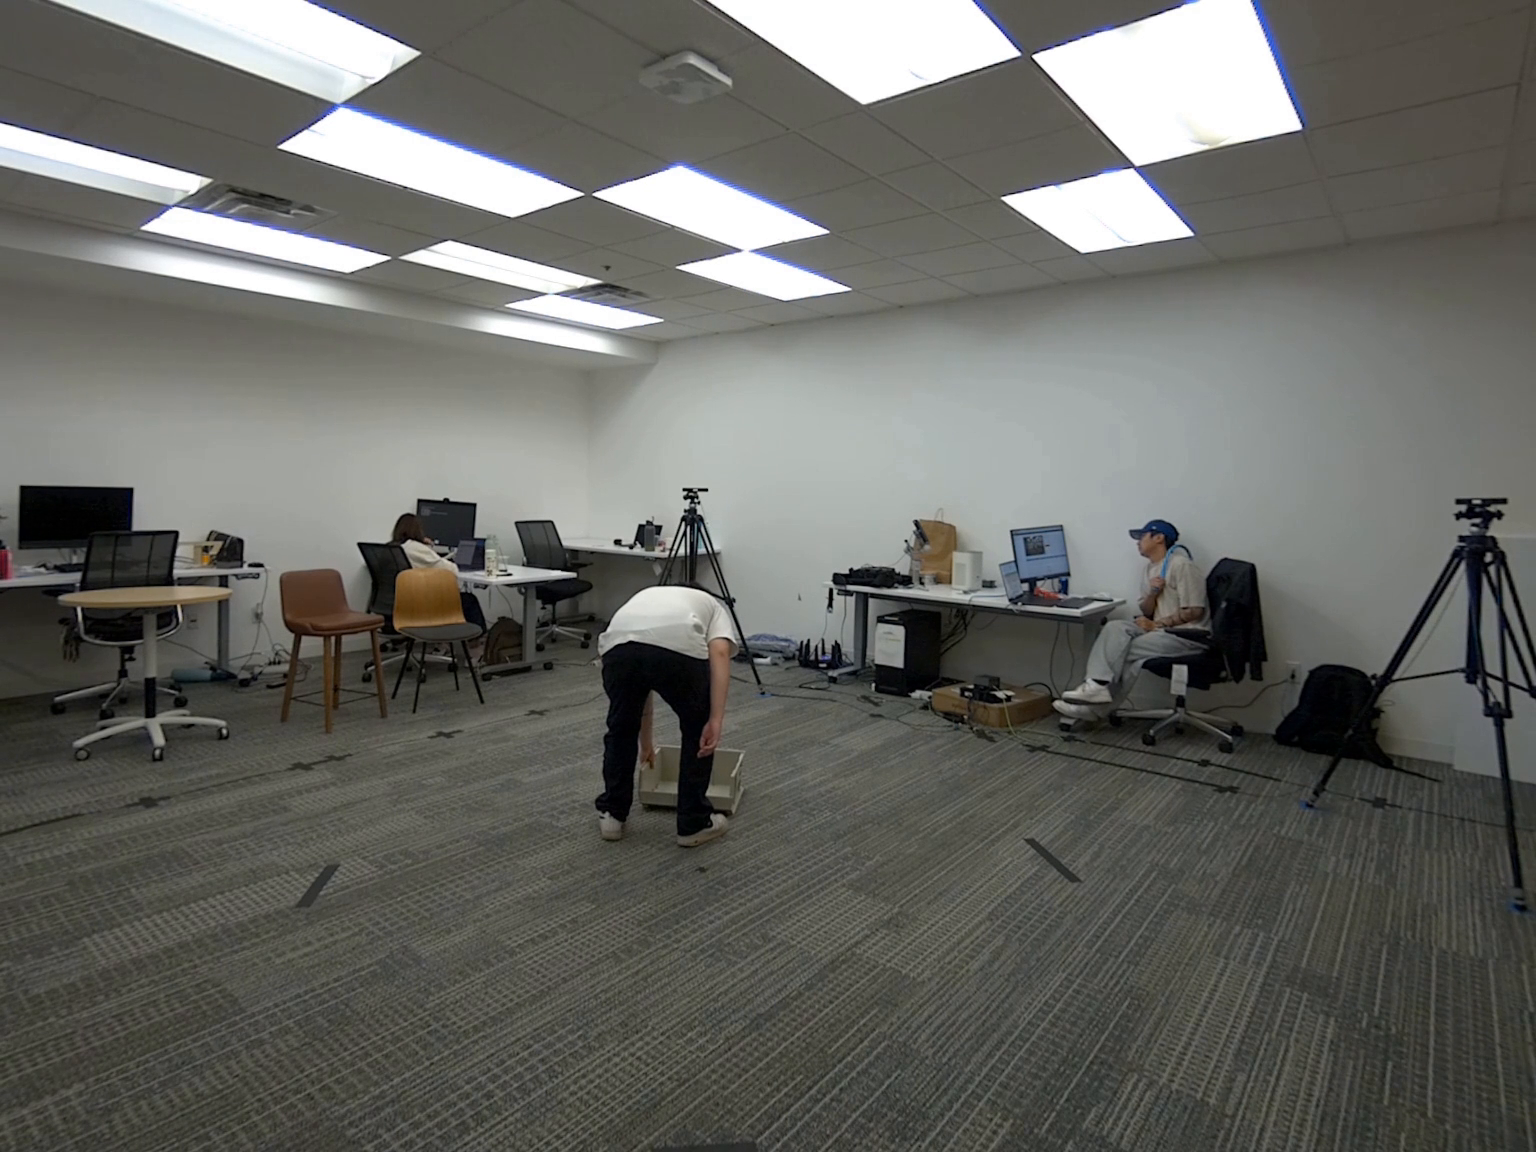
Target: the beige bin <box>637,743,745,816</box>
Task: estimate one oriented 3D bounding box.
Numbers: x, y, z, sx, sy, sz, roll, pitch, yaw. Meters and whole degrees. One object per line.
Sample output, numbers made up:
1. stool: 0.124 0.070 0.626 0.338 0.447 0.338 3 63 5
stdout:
1. beige bin: -0.343 0.909 3.806 0.426 0.188 0.375 1 4 8
